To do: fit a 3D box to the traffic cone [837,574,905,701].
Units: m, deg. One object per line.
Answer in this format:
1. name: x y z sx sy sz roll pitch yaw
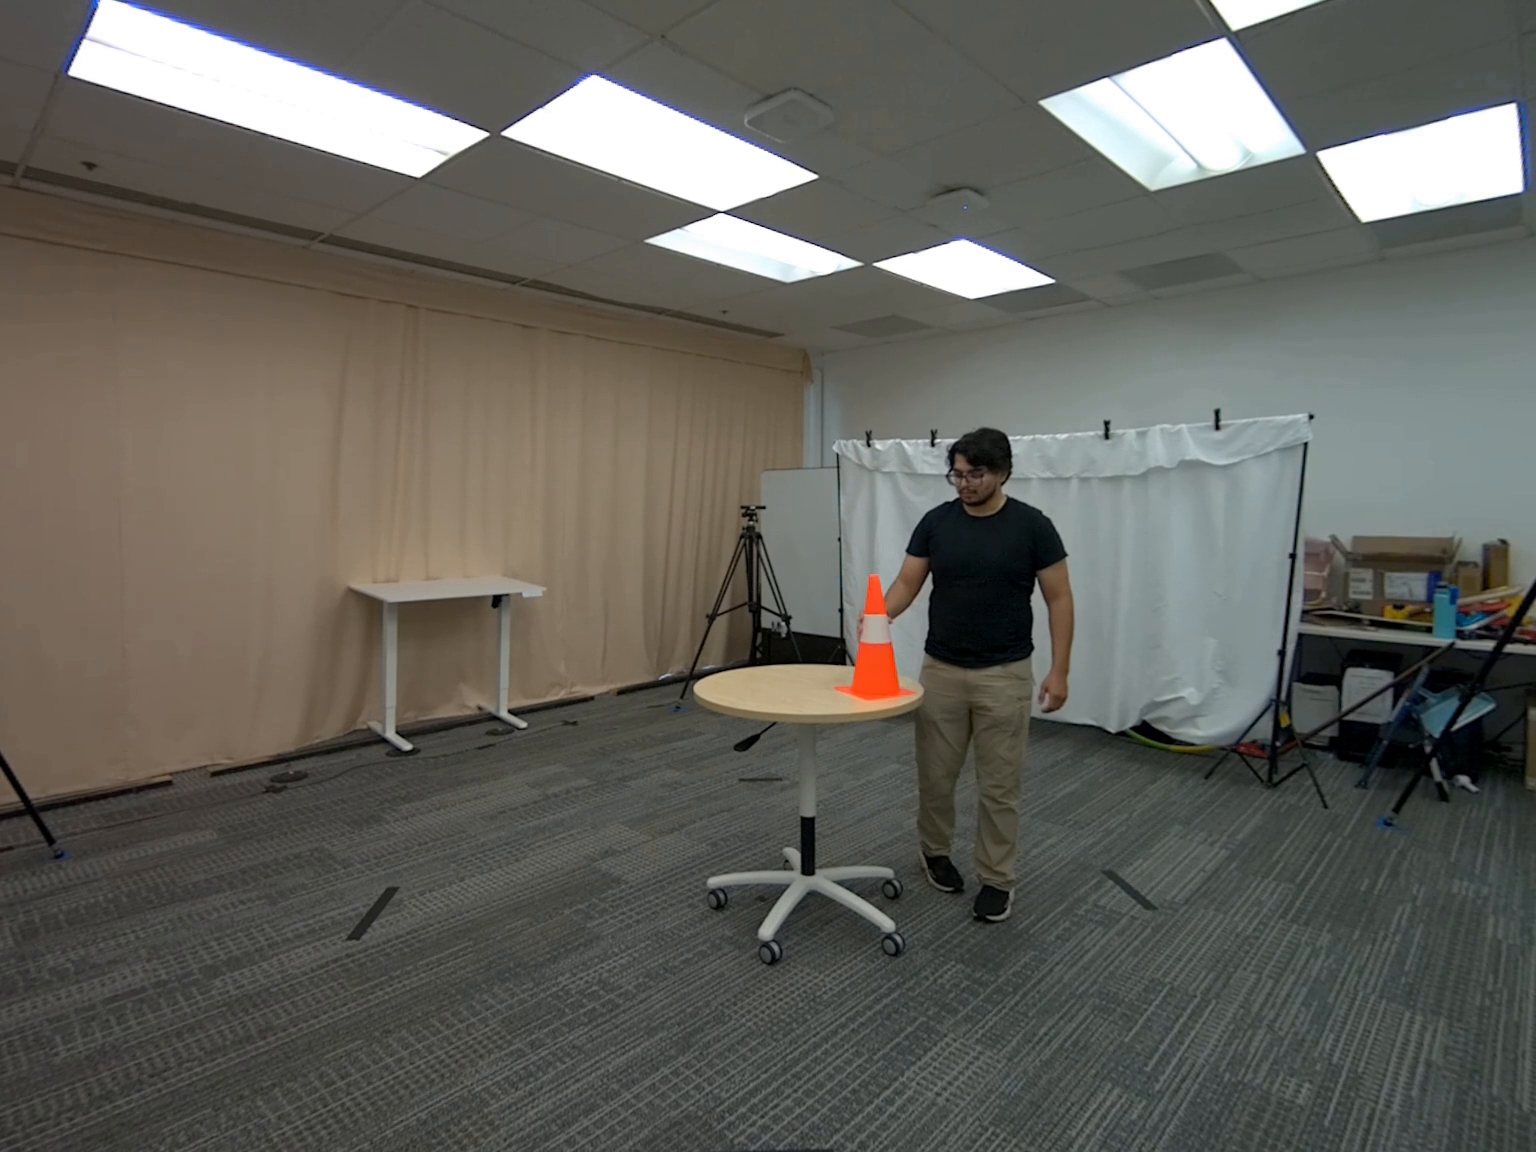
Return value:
1. traffic cone: 0.357 0.188 2.739 0.198 0.383 0.210 -2 1 -27
